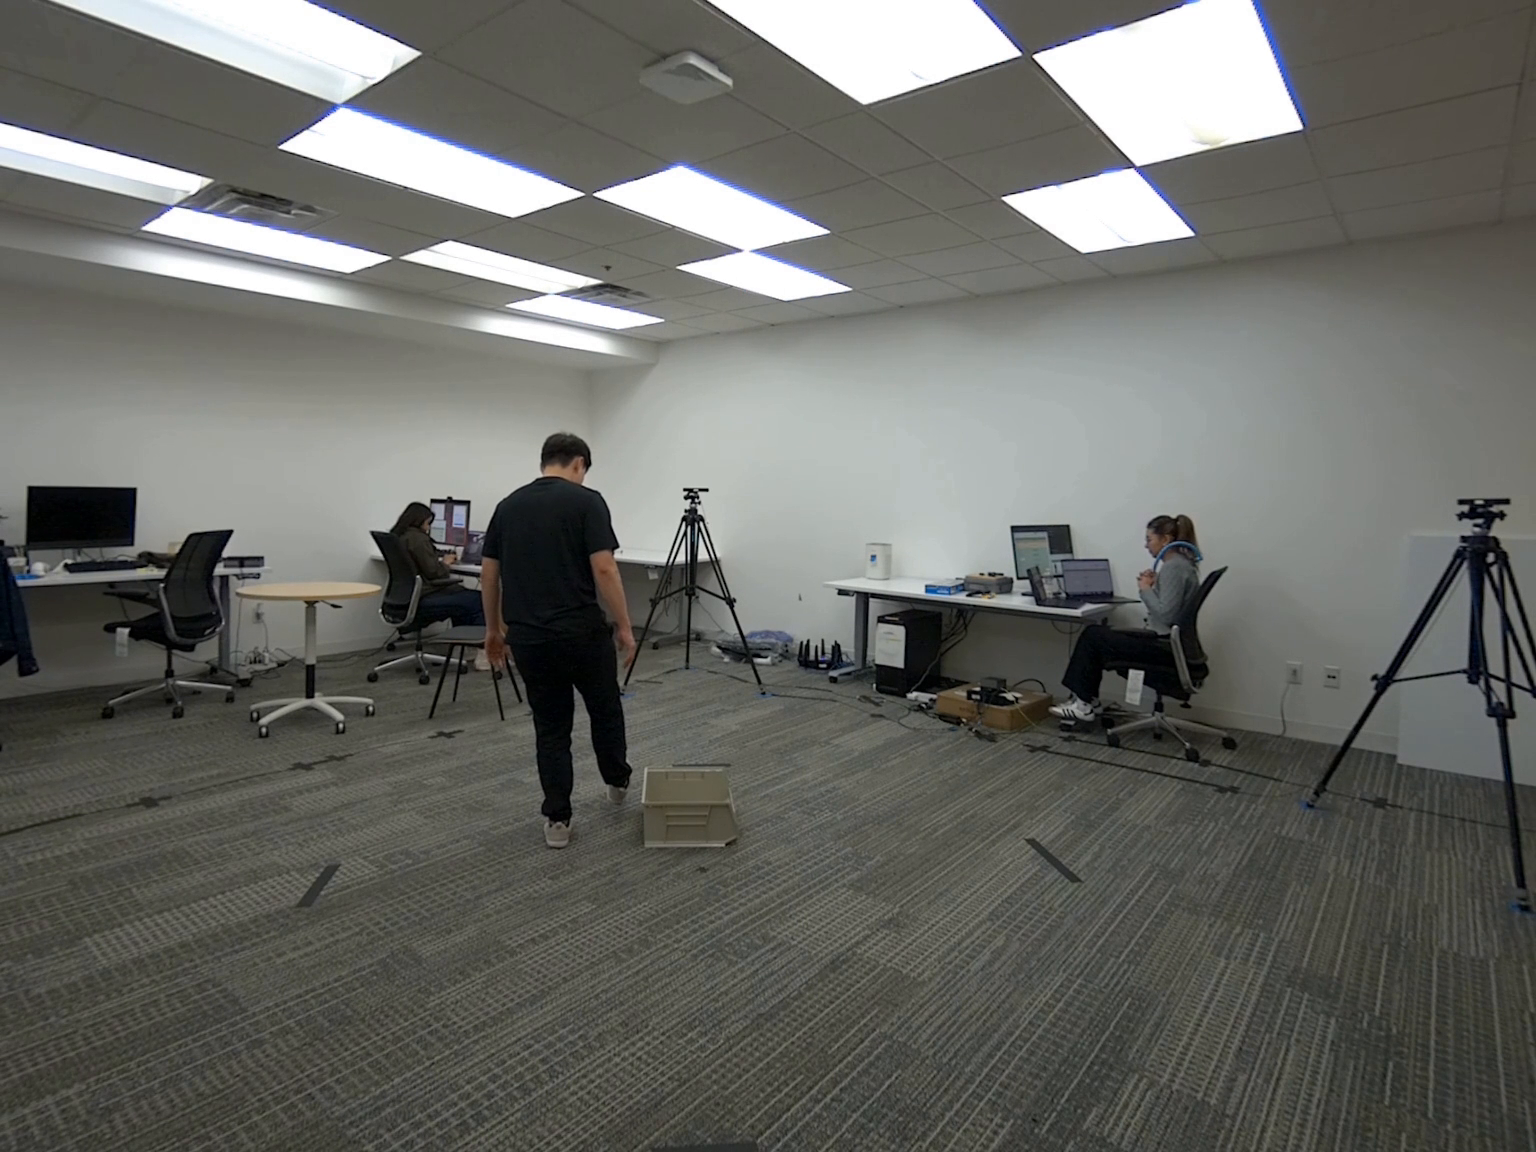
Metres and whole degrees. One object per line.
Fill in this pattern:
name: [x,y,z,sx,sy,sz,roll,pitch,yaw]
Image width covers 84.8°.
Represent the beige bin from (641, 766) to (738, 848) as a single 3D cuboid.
beige bin: [-0.338,0.942,3.500,0.375,0.188,0.427,0,7,-6]
